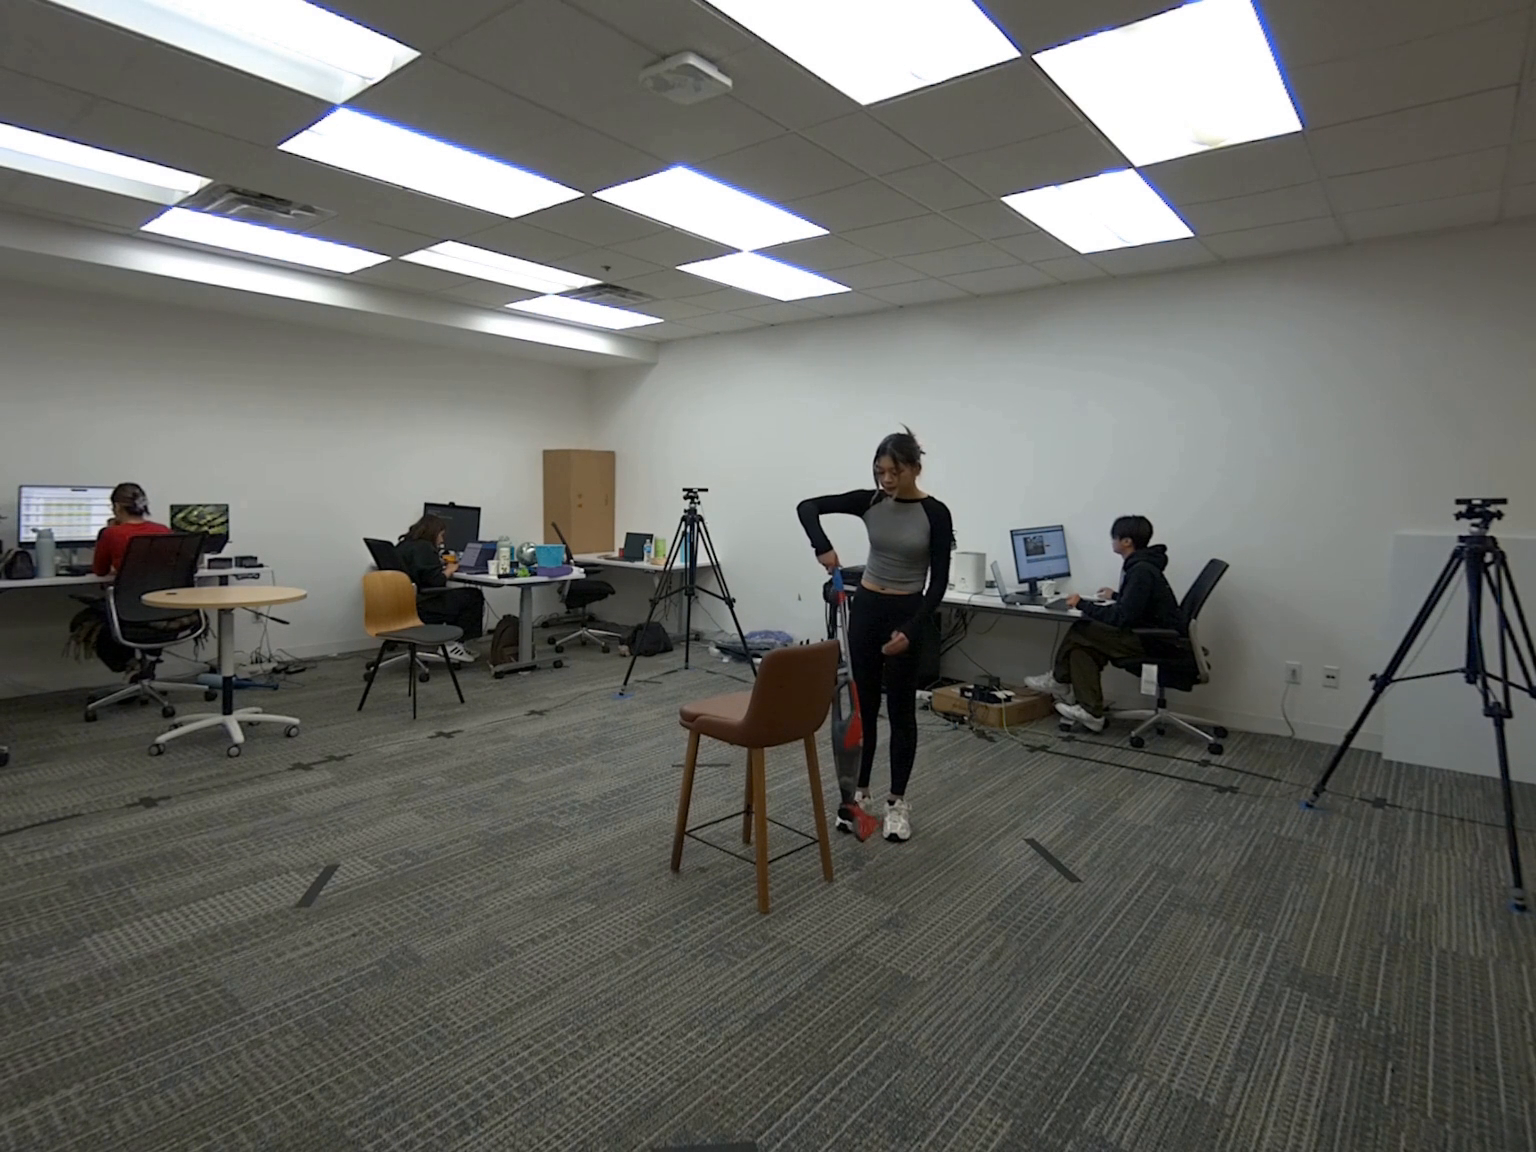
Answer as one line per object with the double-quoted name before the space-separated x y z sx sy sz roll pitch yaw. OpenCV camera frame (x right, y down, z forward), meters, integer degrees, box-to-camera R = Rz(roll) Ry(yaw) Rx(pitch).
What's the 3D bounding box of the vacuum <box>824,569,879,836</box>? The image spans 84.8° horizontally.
"vacuum" 0.276 0.412 3.300 0.147 1.056 0.245 -12 -8 38
